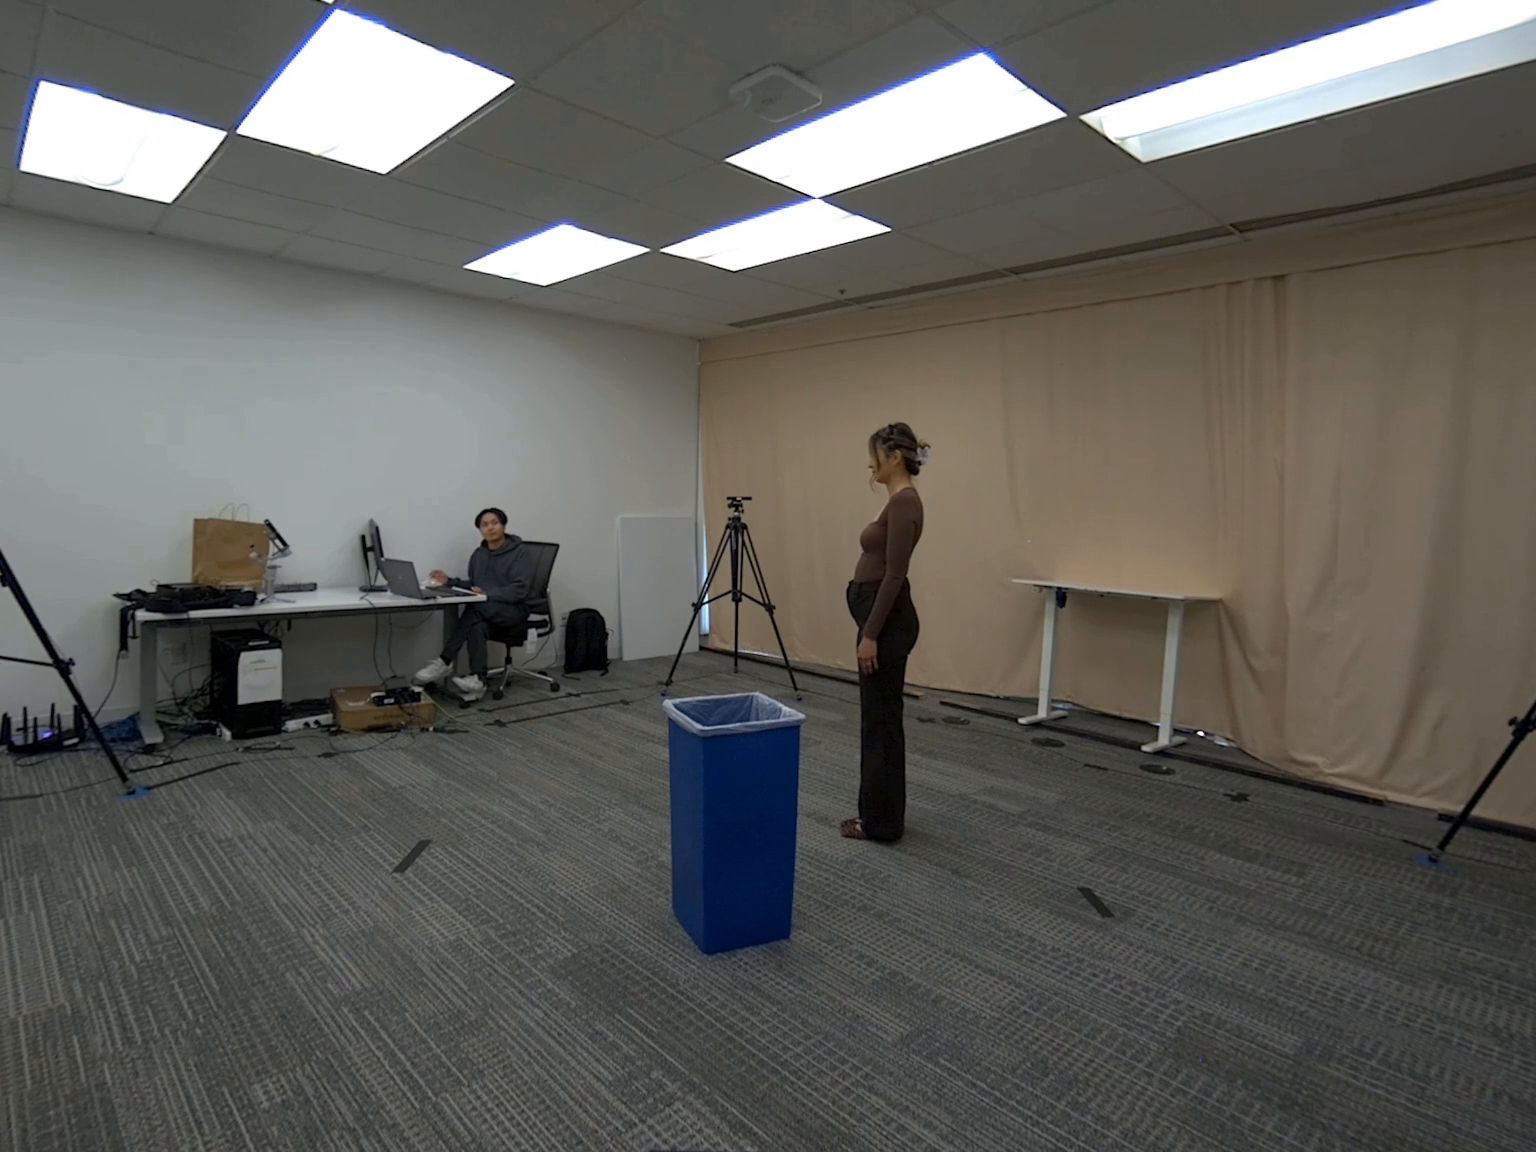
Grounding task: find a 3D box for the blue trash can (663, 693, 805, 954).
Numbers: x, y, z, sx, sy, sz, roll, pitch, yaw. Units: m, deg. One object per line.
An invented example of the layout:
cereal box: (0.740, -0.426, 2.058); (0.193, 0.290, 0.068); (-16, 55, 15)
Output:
blue trash can: (-0.127, 0.783, 2.723); (0.367, 0.712, 0.386); (0, 3, -26)
